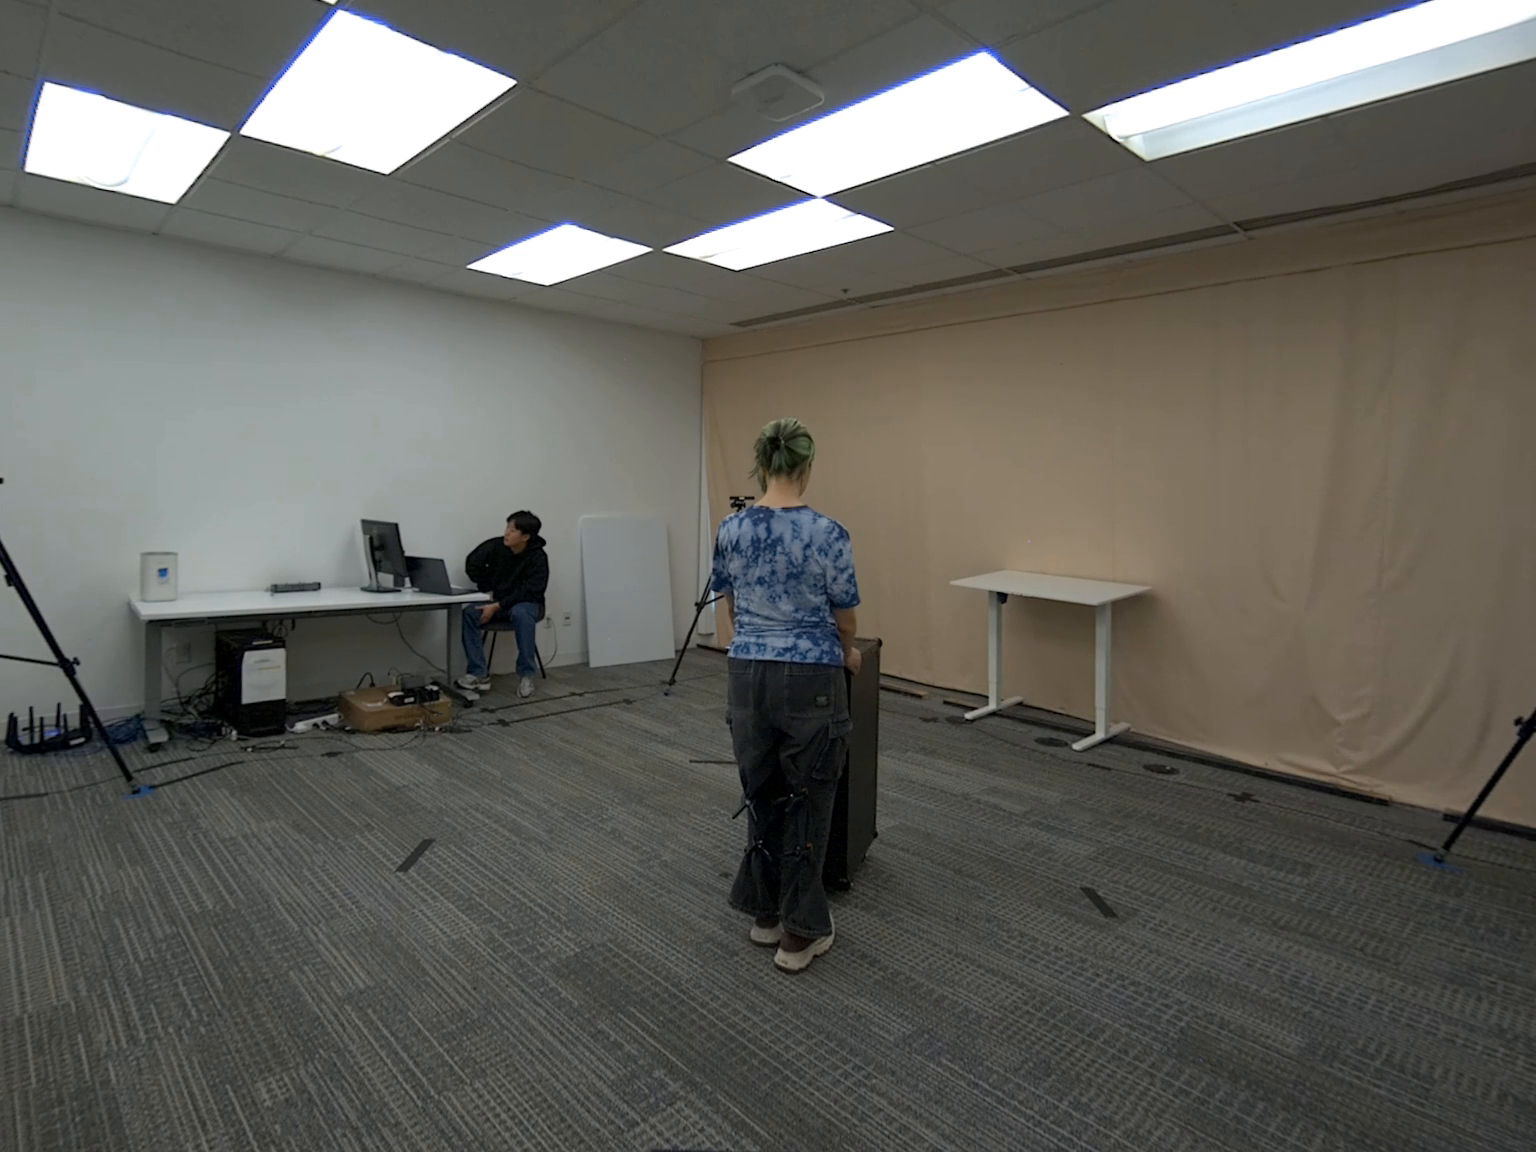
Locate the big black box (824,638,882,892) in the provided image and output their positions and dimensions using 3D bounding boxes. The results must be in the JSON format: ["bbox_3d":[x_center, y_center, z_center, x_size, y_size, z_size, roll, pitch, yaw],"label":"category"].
[{"bbox_3d":[0.175,0.689,3.136,0.403,0.859,0.514,2,4,20],"label":"big black box"}]
